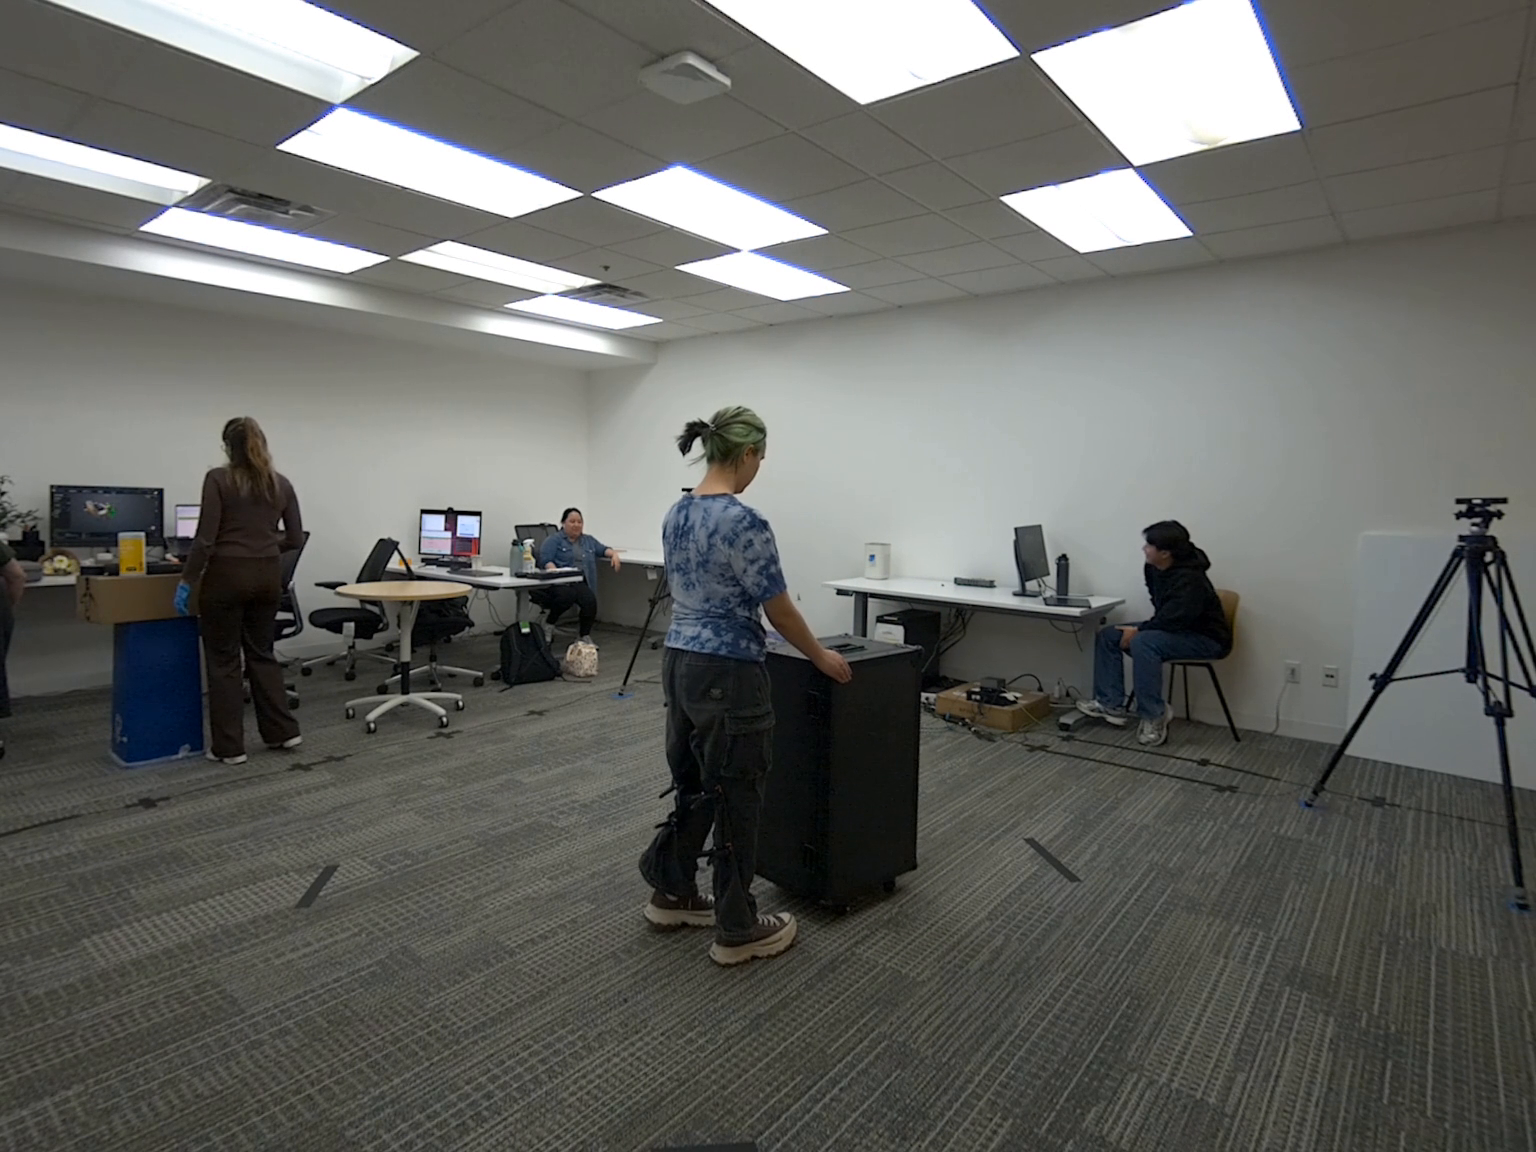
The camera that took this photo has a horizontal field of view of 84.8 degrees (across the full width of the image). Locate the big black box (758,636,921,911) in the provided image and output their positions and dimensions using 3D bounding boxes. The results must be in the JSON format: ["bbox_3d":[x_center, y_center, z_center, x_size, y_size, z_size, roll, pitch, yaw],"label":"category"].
[{"bbox_3d":[0.222,0.669,2.958,0.505,0.859,0.410,-3,4,-43],"label":"big black box"}]
